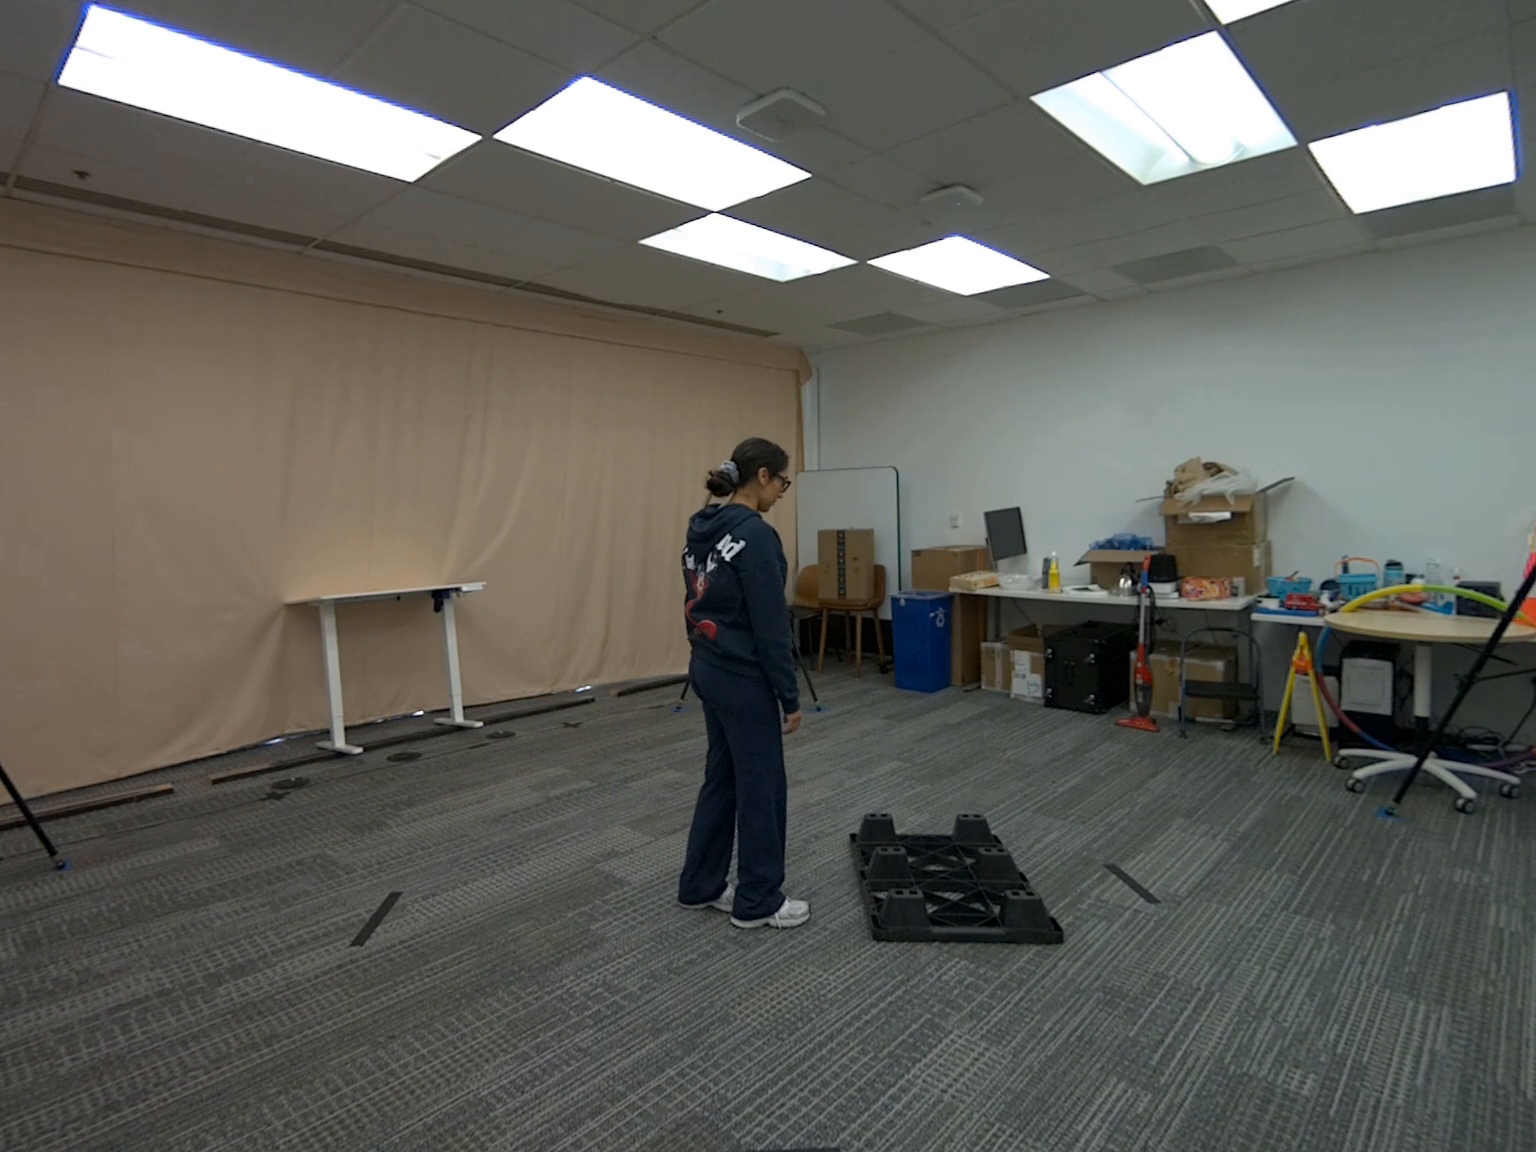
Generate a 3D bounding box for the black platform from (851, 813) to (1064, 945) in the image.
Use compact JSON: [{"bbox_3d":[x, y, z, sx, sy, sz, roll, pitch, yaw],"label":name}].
[{"bbox_3d":[0.641,1.060,3.038,0.607,0.143,0.806,-1,5,1],"label":"black platform"}]
